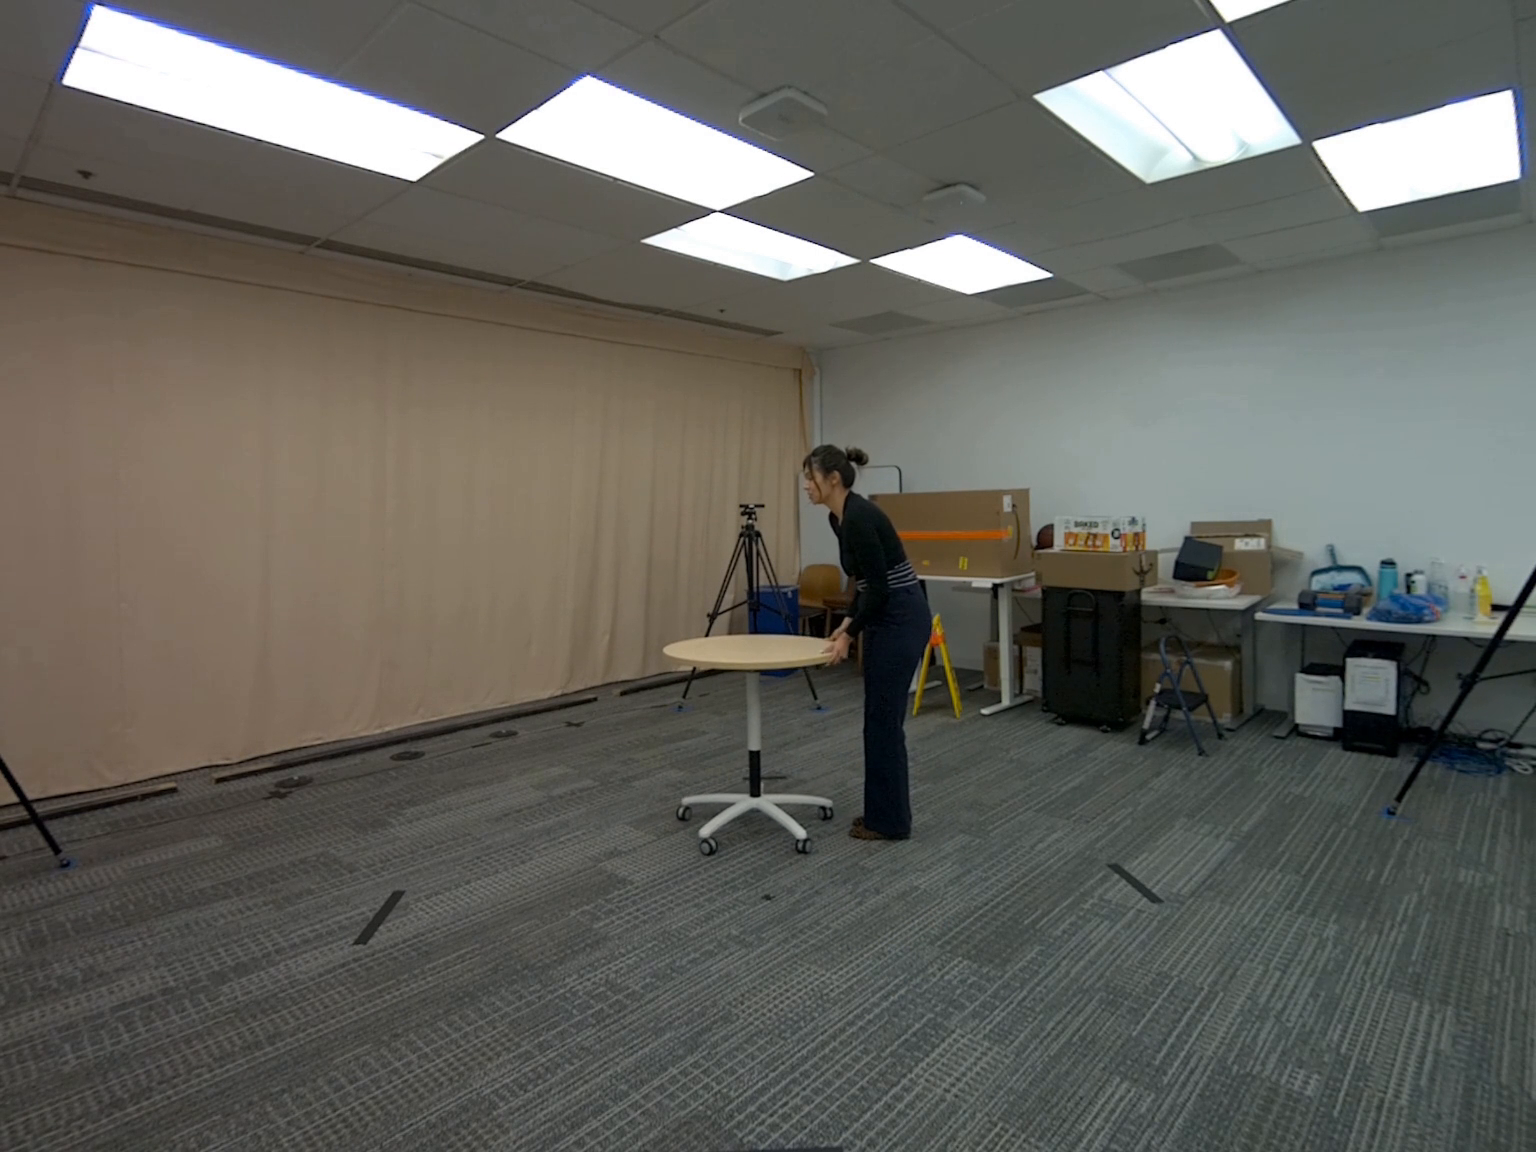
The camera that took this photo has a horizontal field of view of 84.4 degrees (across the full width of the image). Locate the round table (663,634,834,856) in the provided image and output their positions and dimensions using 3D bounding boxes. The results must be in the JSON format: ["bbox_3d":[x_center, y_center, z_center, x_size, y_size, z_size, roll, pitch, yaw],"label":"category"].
[{"bbox_3d":[-0.061,0.699,3.608,0.763,0.793,0.766,-1,3,-2],"label":"round table"}]
